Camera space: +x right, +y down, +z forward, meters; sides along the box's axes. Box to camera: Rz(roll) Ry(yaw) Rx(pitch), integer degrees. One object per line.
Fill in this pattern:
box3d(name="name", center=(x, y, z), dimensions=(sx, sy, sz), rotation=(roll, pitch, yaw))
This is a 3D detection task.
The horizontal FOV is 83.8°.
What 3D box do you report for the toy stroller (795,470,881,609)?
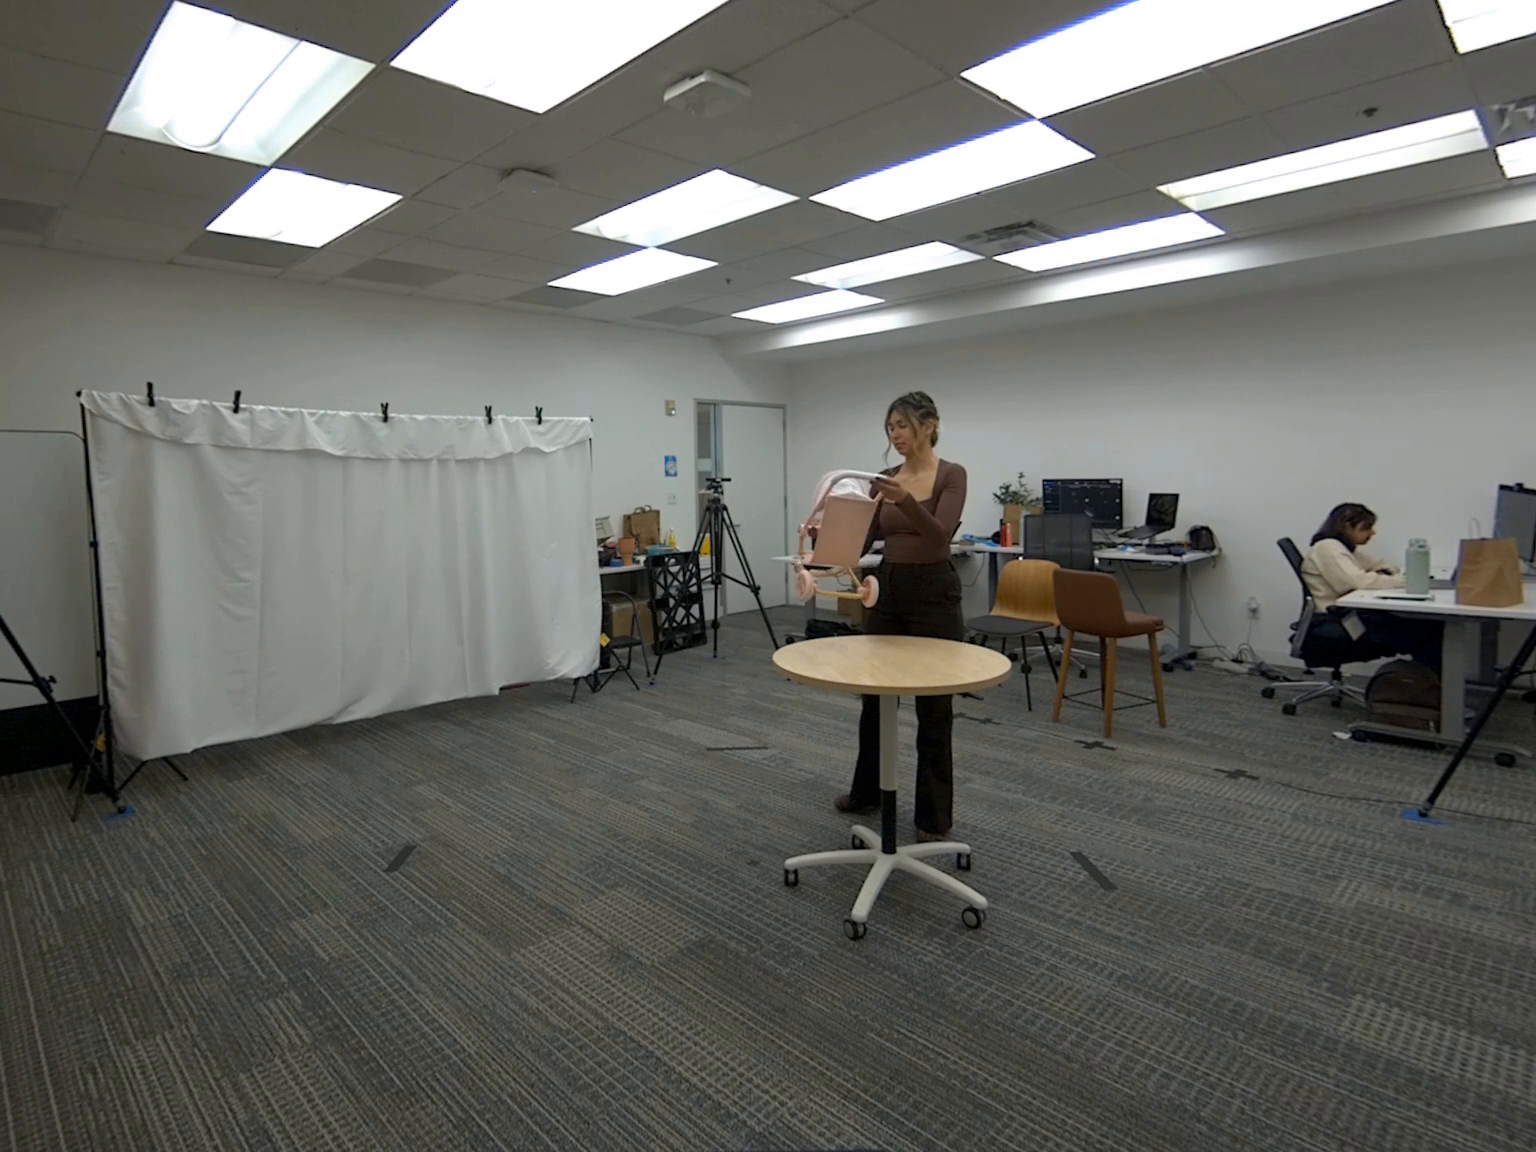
box3d(name="toy stroller", center=(0.239, -0.136, 3.036), dimensions=(0.278, 0.529, 0.349), rotation=(6, 14, -13))
